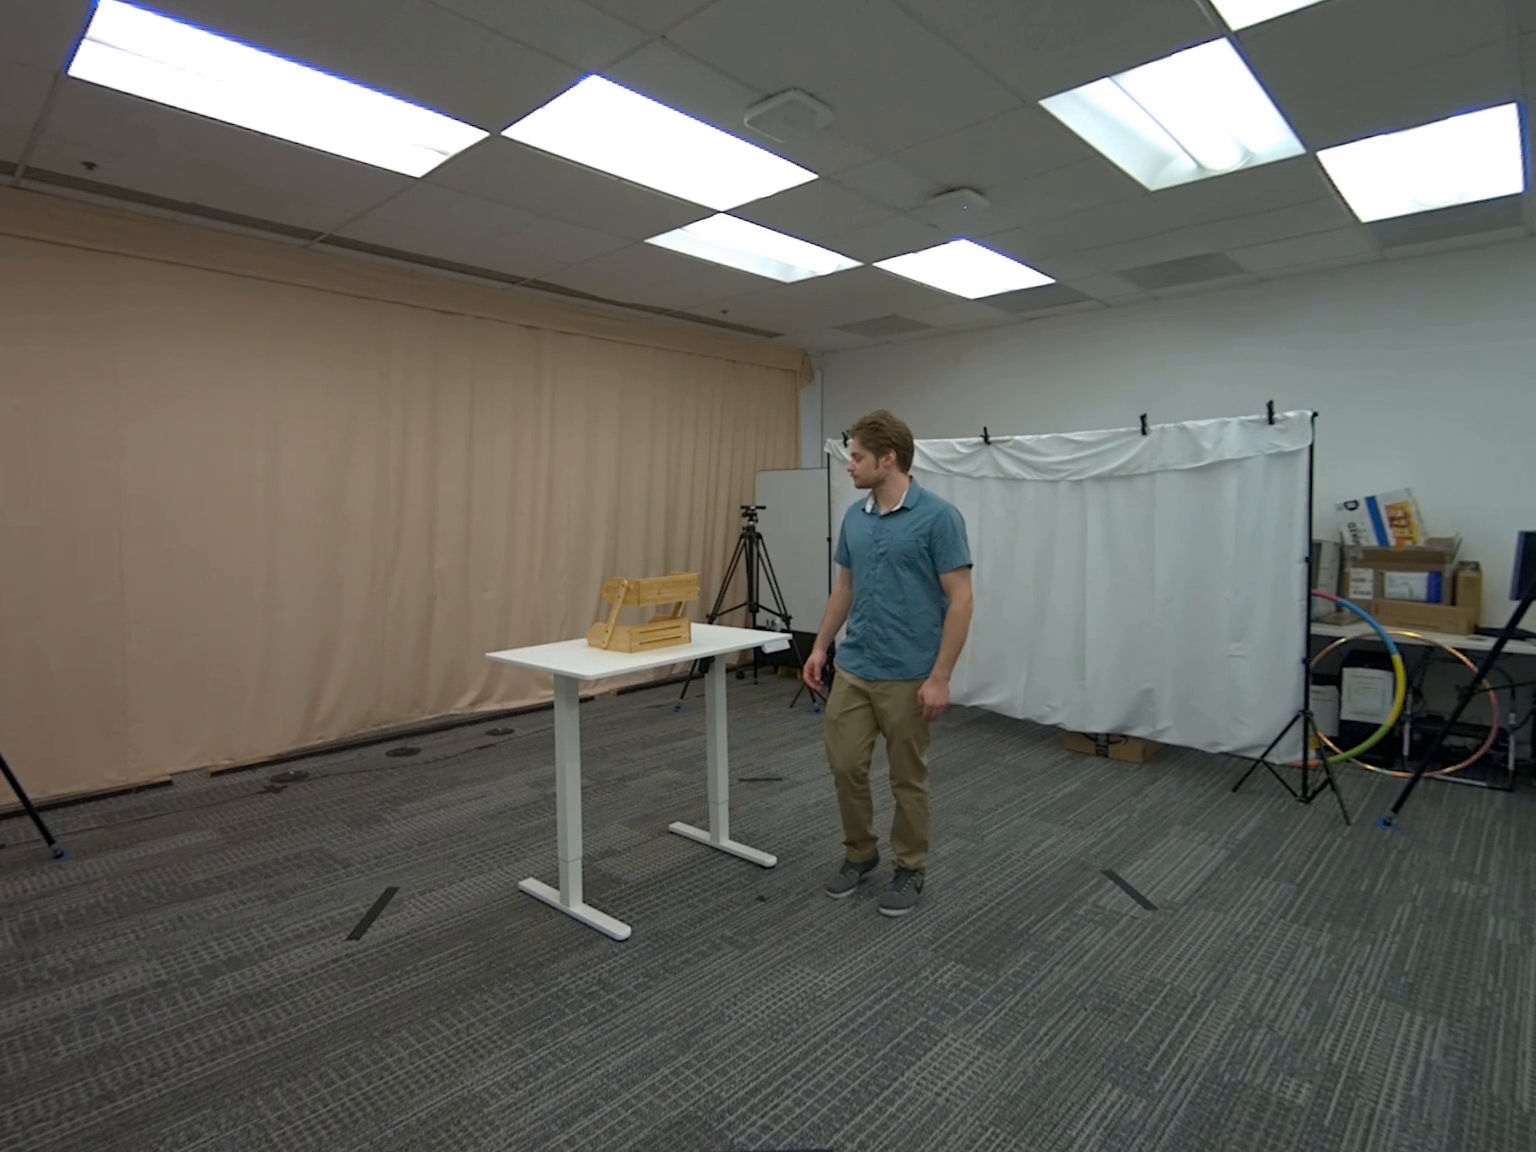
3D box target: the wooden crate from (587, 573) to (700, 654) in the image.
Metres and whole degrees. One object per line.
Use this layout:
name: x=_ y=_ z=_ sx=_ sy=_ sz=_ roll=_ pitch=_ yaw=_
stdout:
wooden crate: x=-0.462 y=0.124 z=3.108 sx=0.312 sy=0.272 sz=0.314 roll=4 pitch=6 yaw=43
